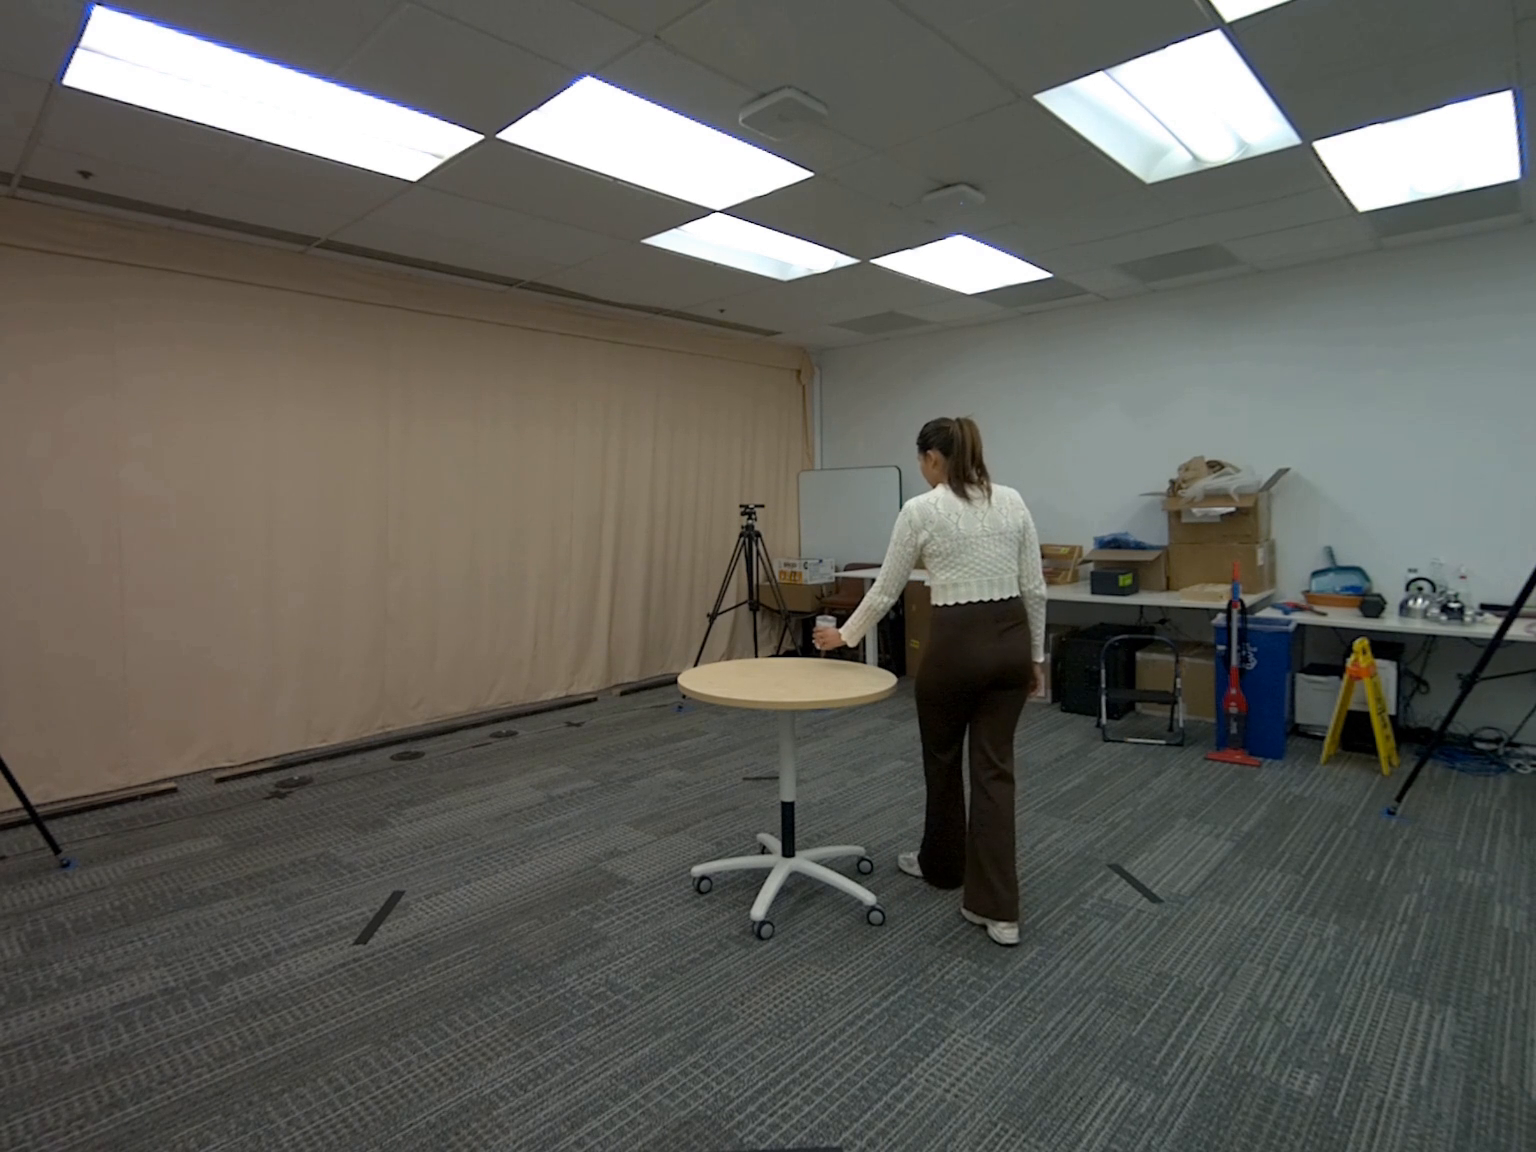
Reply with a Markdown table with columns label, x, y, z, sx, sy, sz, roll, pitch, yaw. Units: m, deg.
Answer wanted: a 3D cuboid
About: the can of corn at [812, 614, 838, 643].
| label | x | y | z | sx | sy | sz | roll | pitch | yaw |
| --- | --- | --- | --- | --- | --- | --- | --- | --- | --- |
| can of corn | 0.225 | 0.219 | 3.155 | 0.074 | 0.110 | 0.075 | 1 | 13 | -2 |
